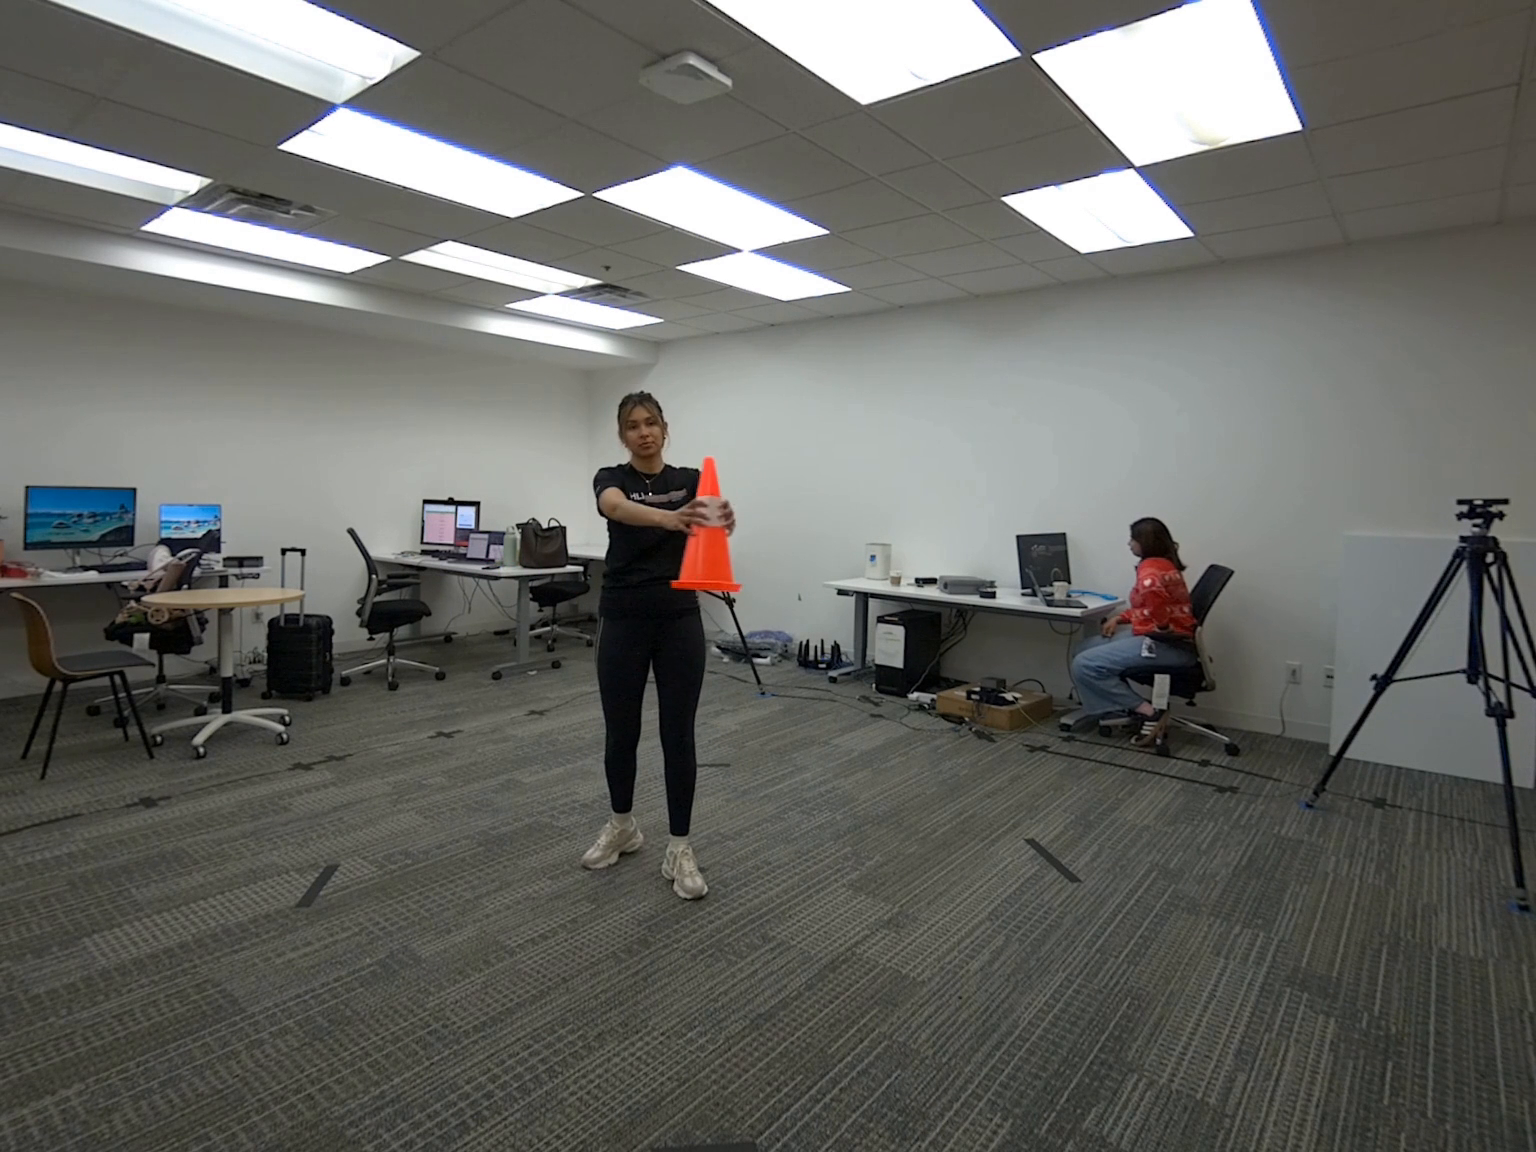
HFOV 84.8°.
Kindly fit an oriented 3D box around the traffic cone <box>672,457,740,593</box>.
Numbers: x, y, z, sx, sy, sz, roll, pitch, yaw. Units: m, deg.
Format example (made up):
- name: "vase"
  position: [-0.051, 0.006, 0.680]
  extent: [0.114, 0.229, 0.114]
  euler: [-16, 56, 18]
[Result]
- name: "traffic cone"
  position: [-0.187, -0.160, 2.479]
  extent: [0.209, 0.387, 0.197]
  euler: [-8, -15, 44]
